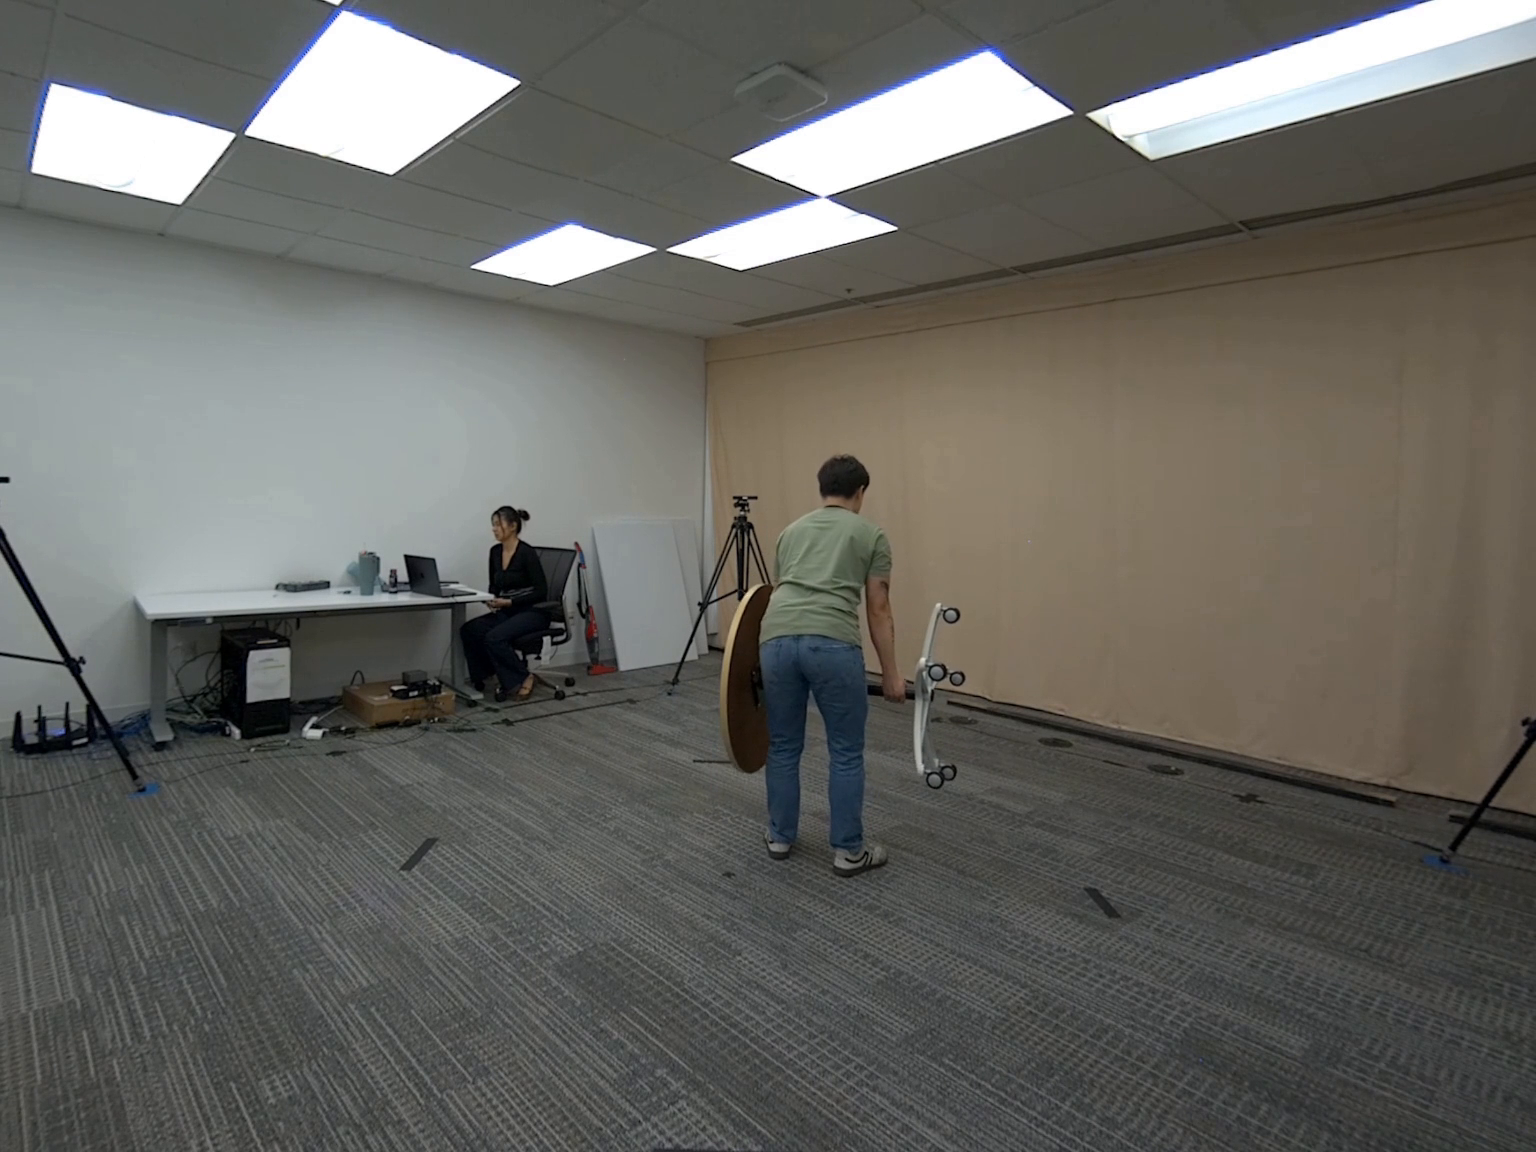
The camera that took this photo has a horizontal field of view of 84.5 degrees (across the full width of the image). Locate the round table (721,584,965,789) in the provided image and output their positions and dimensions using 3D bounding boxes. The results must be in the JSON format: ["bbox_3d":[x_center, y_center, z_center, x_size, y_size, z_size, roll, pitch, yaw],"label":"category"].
[{"bbox_3d":[0.321,0.447,3.310,0.807,0.762,0.753,3,5,21],"label":"round table"}]
